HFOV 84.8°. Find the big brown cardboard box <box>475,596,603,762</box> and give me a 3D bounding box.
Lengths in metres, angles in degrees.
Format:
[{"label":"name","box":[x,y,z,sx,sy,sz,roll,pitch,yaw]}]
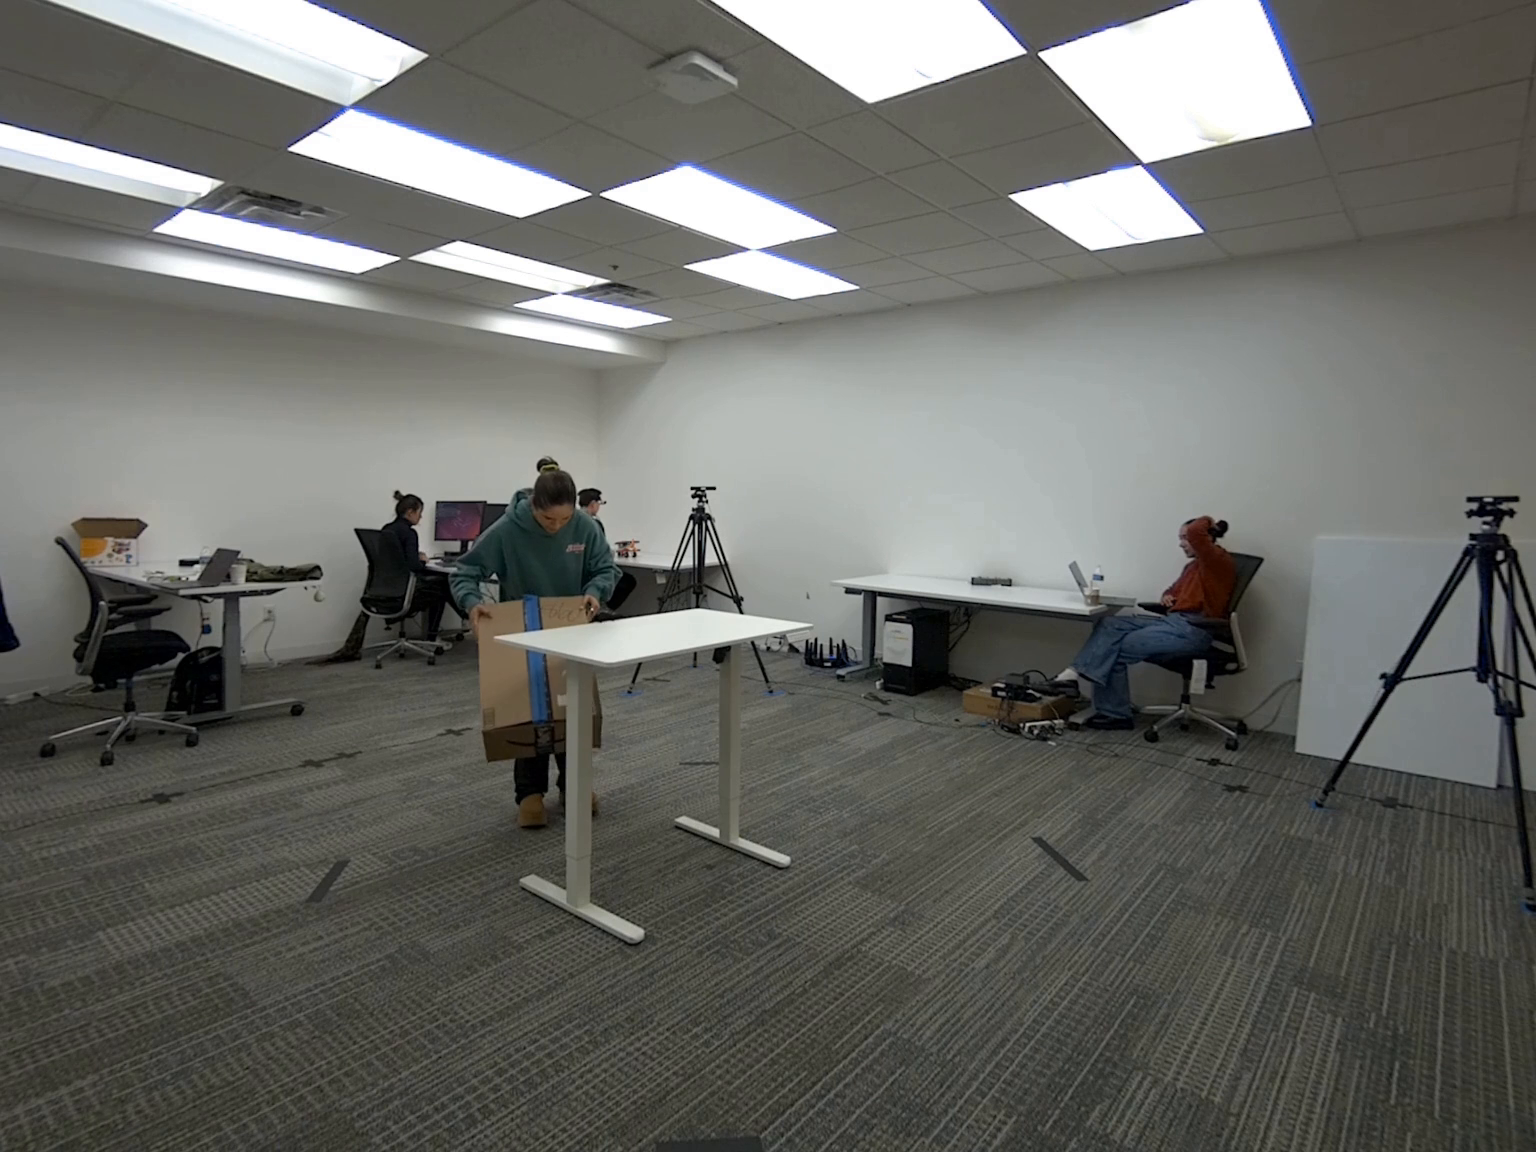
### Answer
[{"label":"big brown cardboard box","box":[-0.882,0.378,3.228,0.412,0.228,0.611,-7,49,-15]}]
